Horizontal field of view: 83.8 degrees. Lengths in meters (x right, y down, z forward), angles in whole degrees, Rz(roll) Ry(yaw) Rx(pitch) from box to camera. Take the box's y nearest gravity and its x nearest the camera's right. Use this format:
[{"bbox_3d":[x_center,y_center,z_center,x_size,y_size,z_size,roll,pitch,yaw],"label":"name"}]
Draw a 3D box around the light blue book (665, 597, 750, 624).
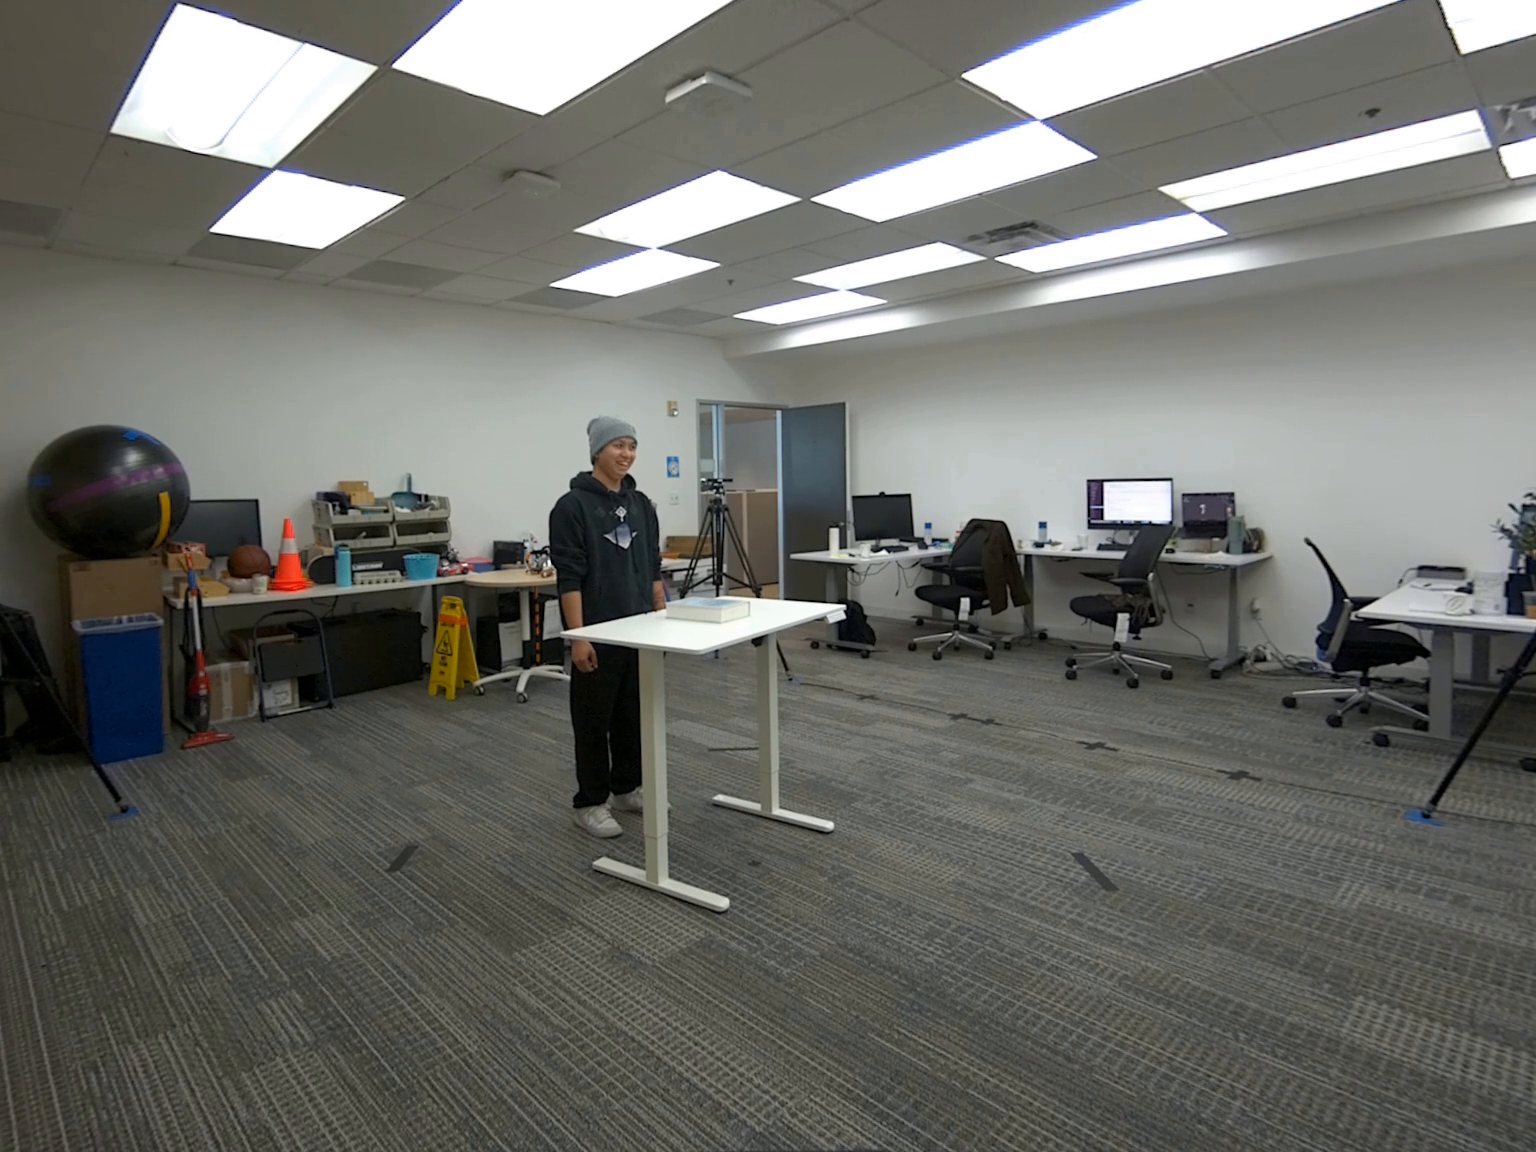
[{"bbox_3d":[-0.225,0.128,3.198,0.268,0.059,0.187,3,7,34],"label":"light blue book"}]
